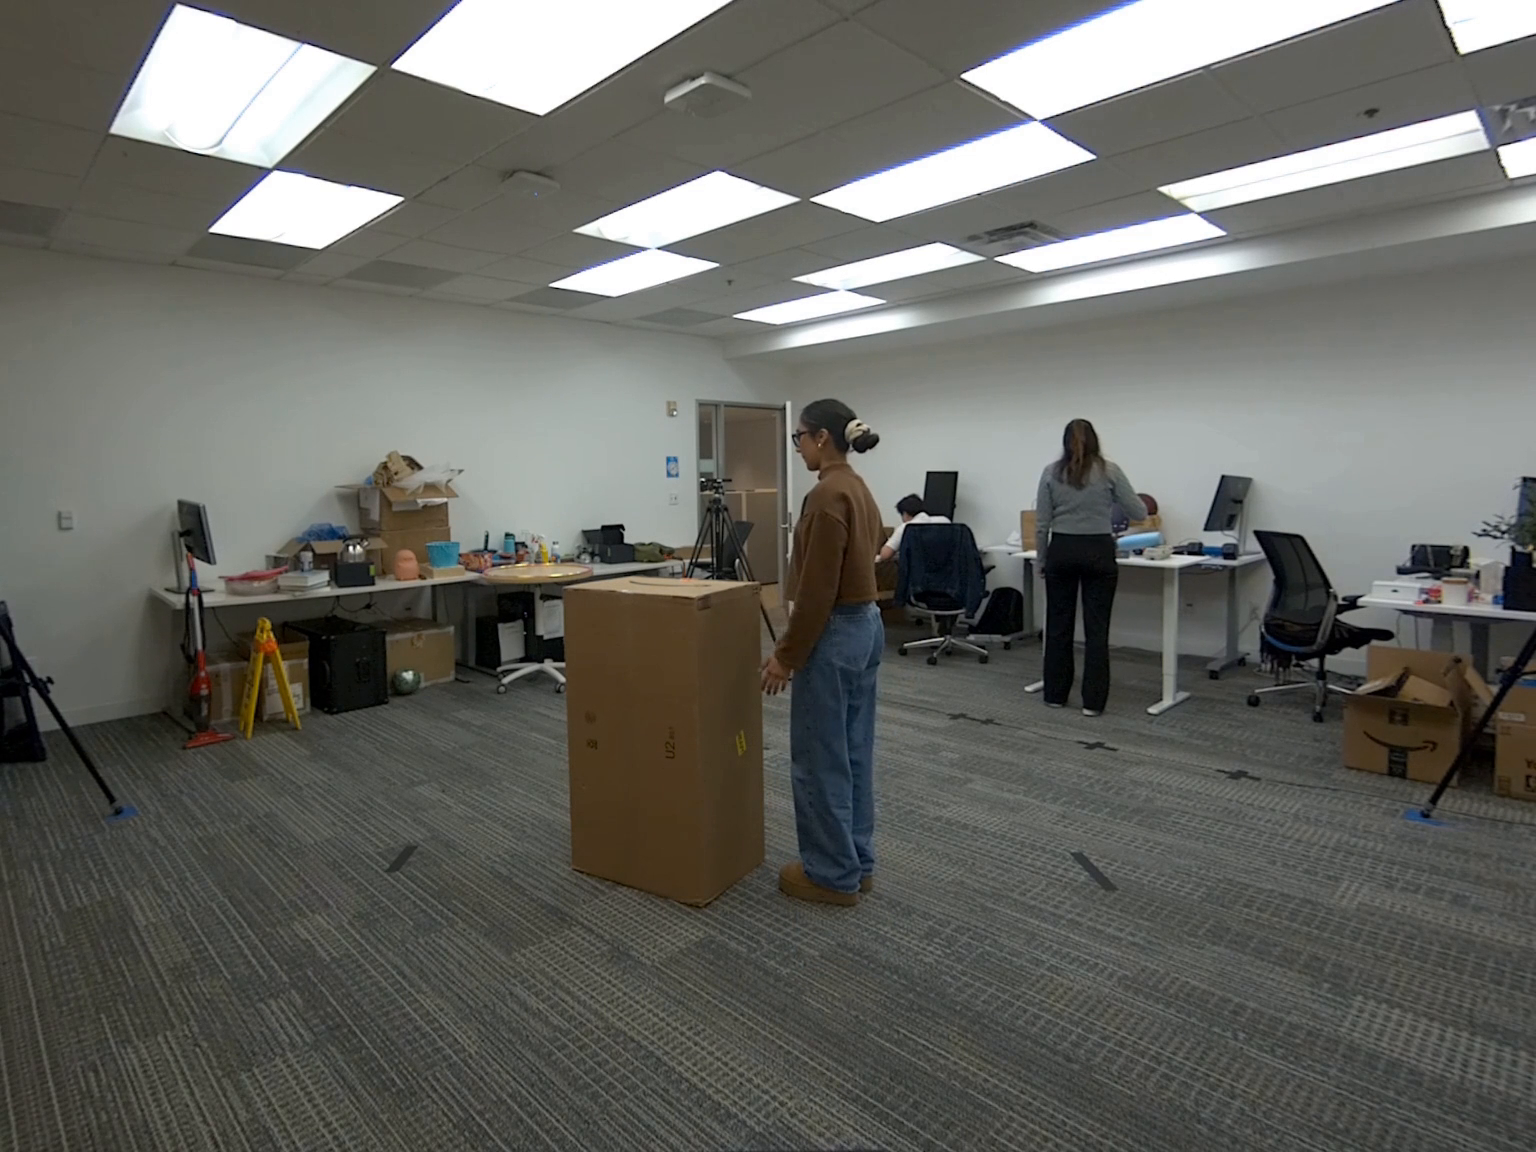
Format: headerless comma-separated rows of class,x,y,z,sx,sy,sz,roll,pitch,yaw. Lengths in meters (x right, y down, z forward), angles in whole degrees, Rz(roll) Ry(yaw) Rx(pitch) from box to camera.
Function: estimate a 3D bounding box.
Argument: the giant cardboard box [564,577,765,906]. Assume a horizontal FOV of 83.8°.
giant cardboard box,-0.368,0.541,3.088,0.593,1.022,0.416,2,4,32
